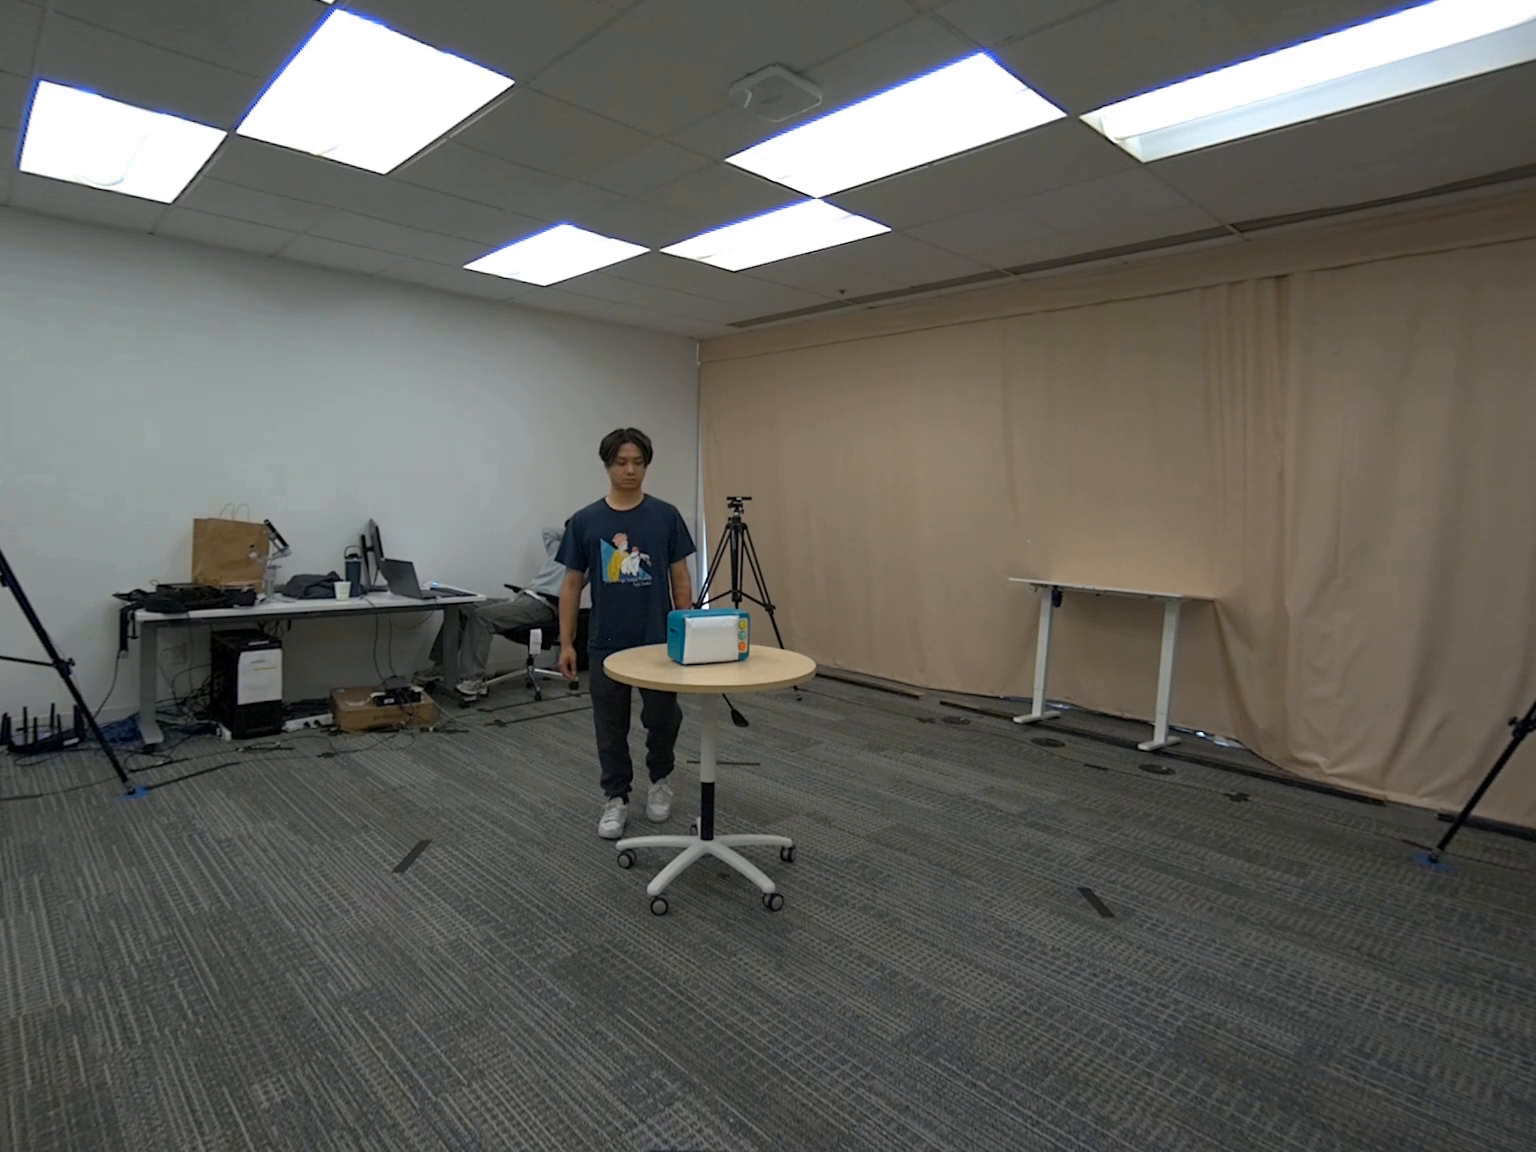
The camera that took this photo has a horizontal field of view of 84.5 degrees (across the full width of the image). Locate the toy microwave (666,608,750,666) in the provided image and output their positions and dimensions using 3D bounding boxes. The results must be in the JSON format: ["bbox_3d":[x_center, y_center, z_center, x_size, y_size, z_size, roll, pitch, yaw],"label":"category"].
[{"bbox_3d":[-0.215,0.219,3.049,0.281,0.183,0.156,-1,6,-26],"label":"toy microwave"}]
